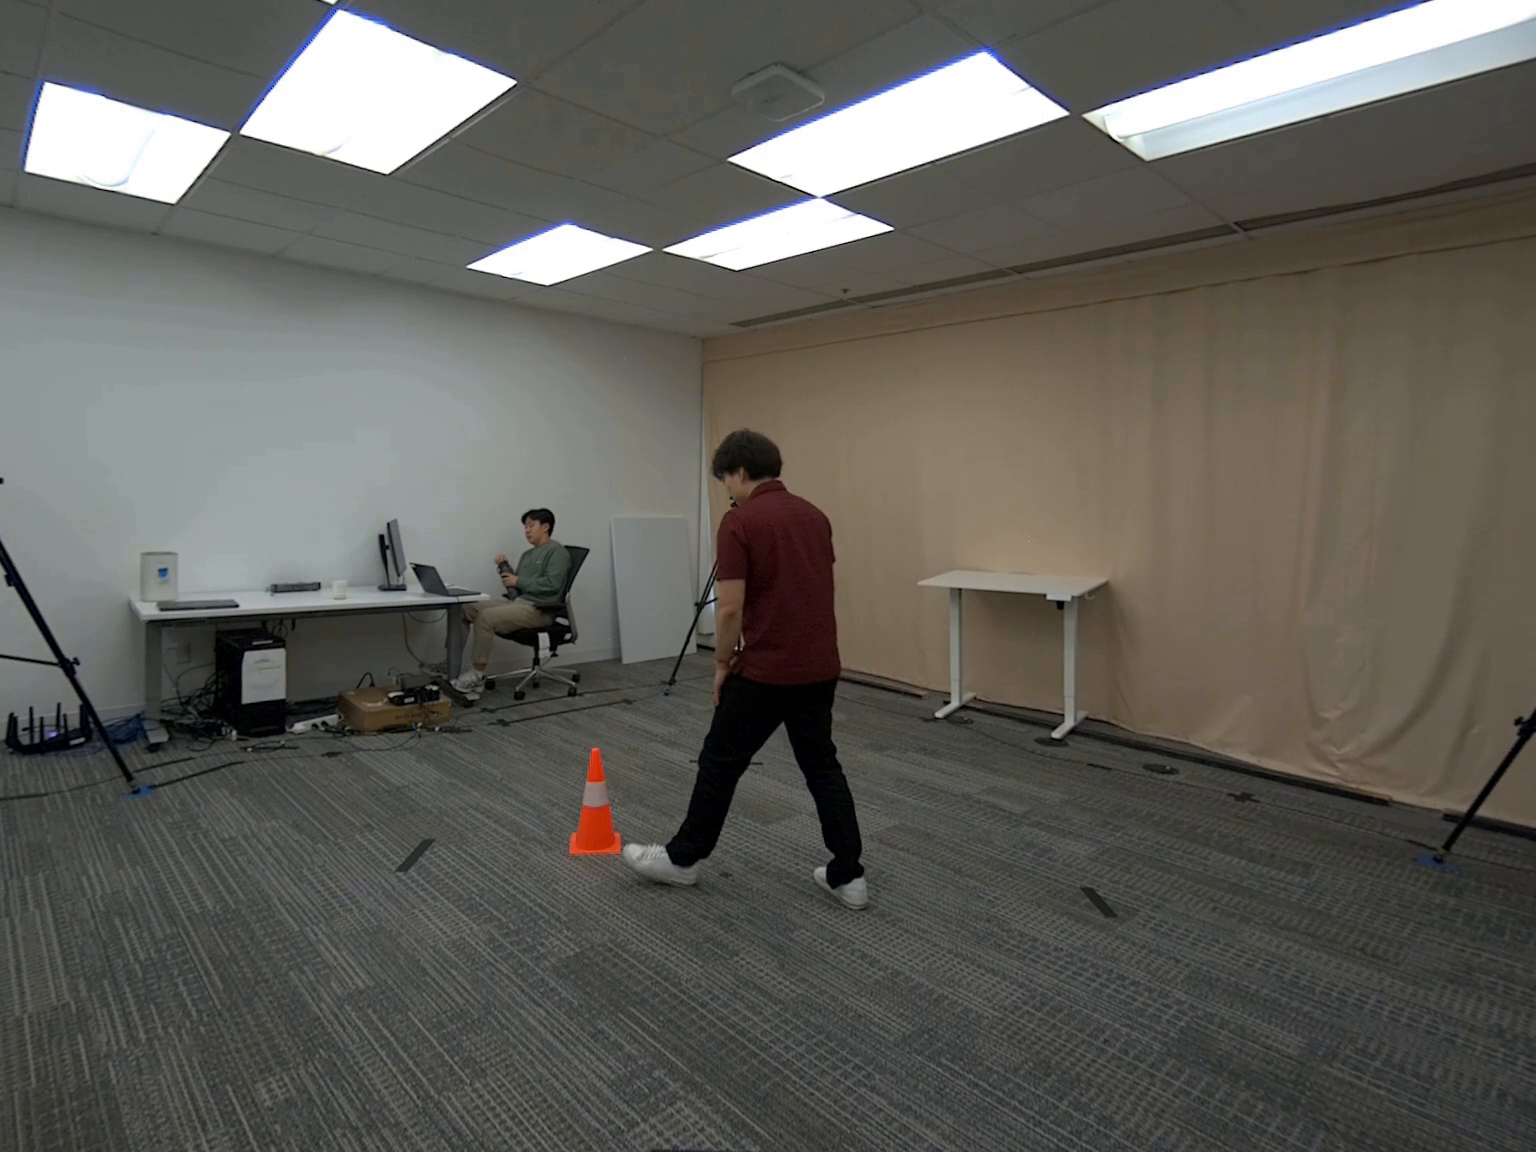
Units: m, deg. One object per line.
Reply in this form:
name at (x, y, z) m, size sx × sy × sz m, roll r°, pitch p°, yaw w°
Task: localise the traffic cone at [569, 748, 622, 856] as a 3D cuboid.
traffic cone at (-0.703, 0.884, 3.351) m, size 0.204 × 0.383 × 0.205 m, roll 0°, pitch 3°, yaw -8°
